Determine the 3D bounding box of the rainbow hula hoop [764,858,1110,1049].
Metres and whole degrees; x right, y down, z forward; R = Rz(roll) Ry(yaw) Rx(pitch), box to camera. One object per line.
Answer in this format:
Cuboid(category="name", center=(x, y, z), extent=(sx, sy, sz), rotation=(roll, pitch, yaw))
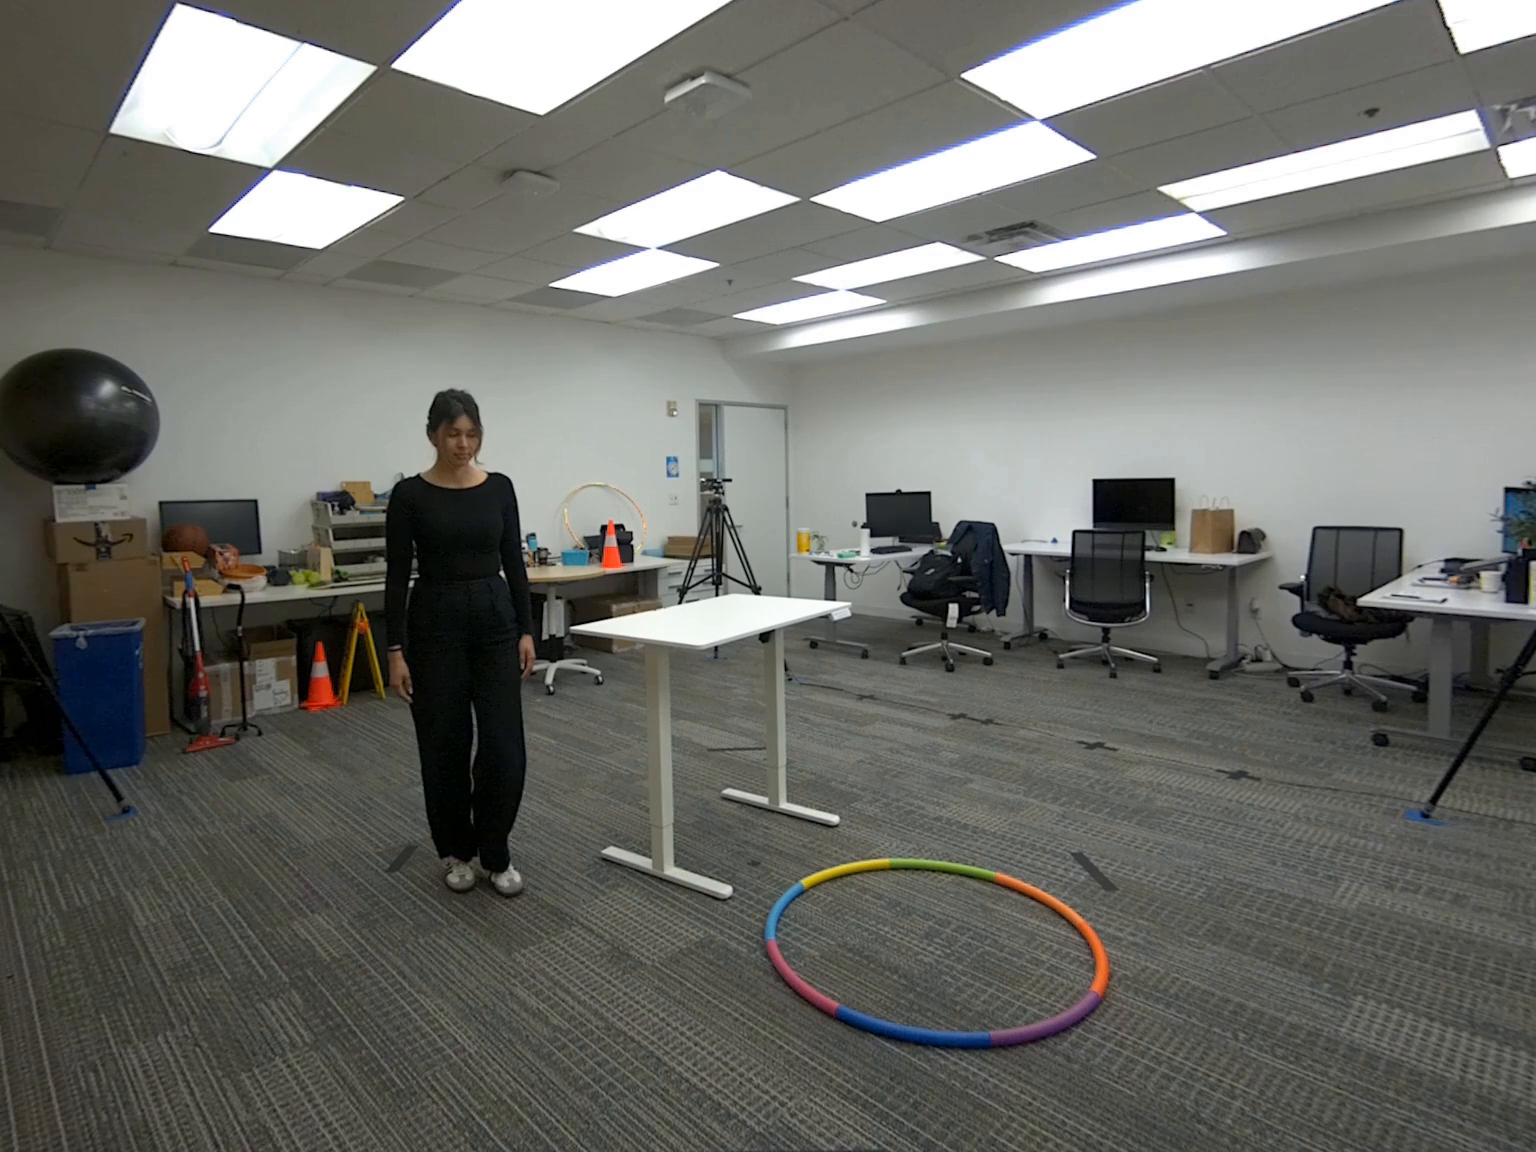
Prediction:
Cuboid(category="rainbow hula hoop", center=(0.487, 1.068, 2.568), extent=(0.978, 0.035, 0.984), rotation=(-2, 7, -2))
